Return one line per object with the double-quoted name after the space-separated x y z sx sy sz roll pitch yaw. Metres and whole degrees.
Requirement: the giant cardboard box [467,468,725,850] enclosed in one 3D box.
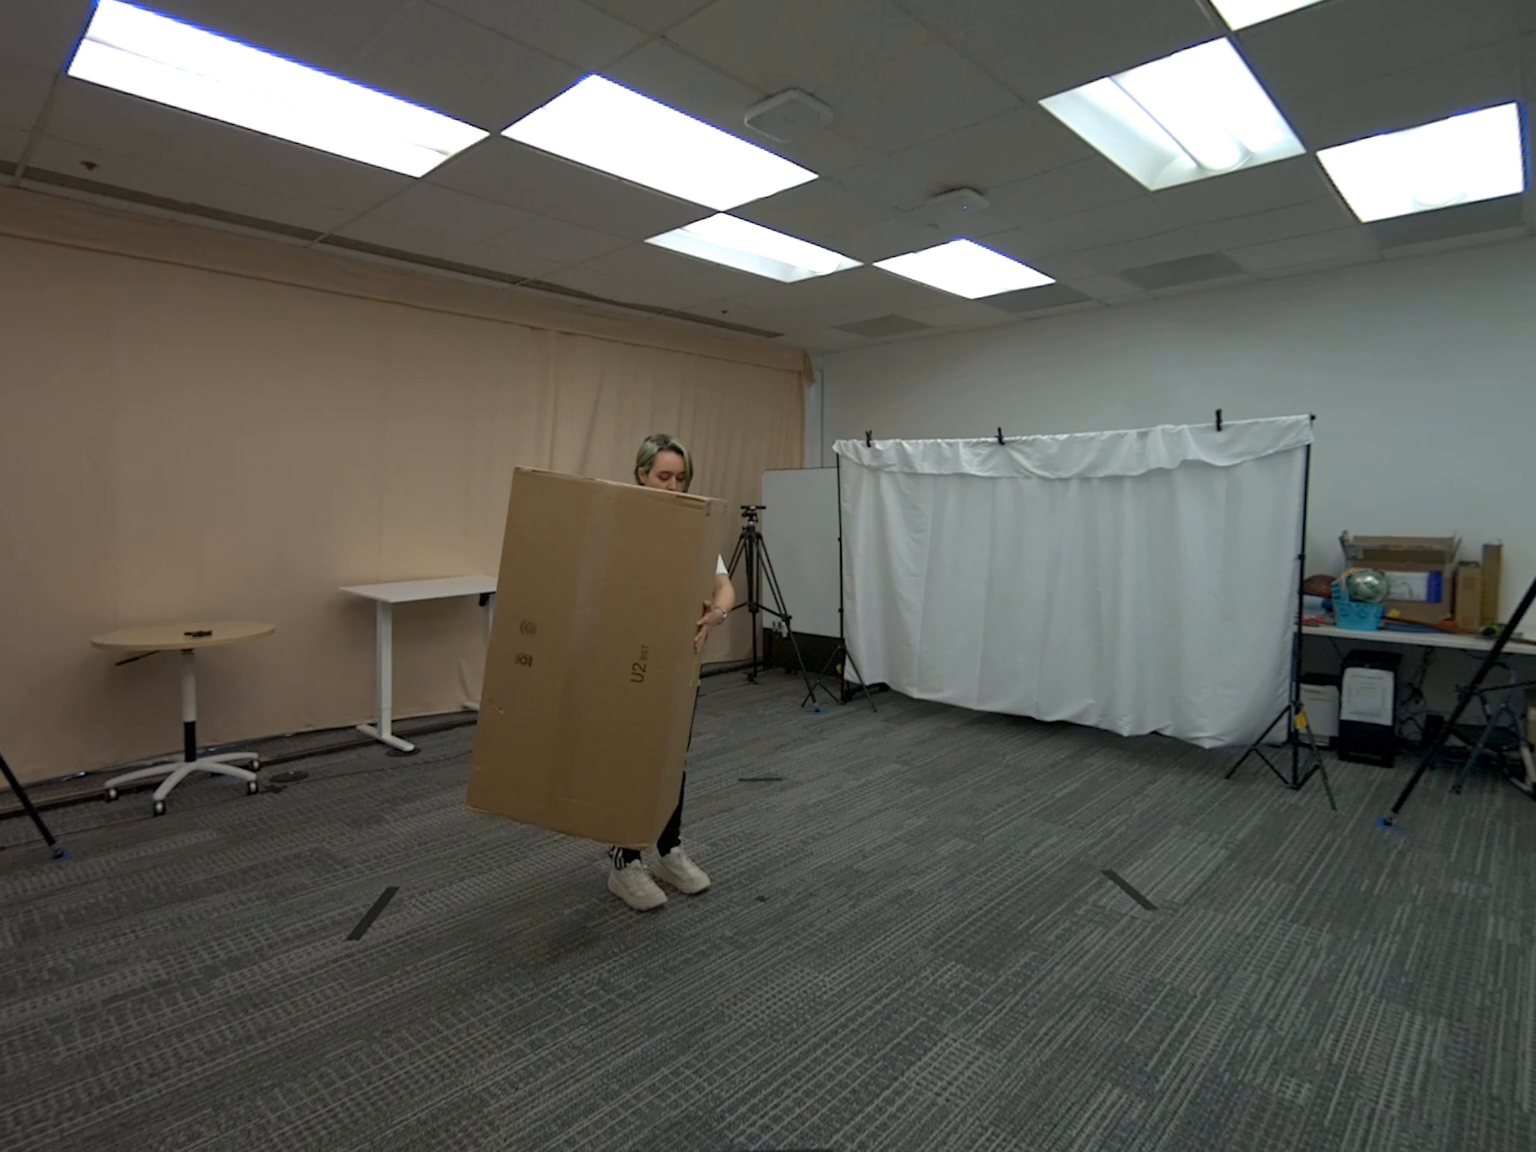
-0.502 0.225 2.610 0.583 1.024 0.423 10 4 7 "giant cardboard box"
